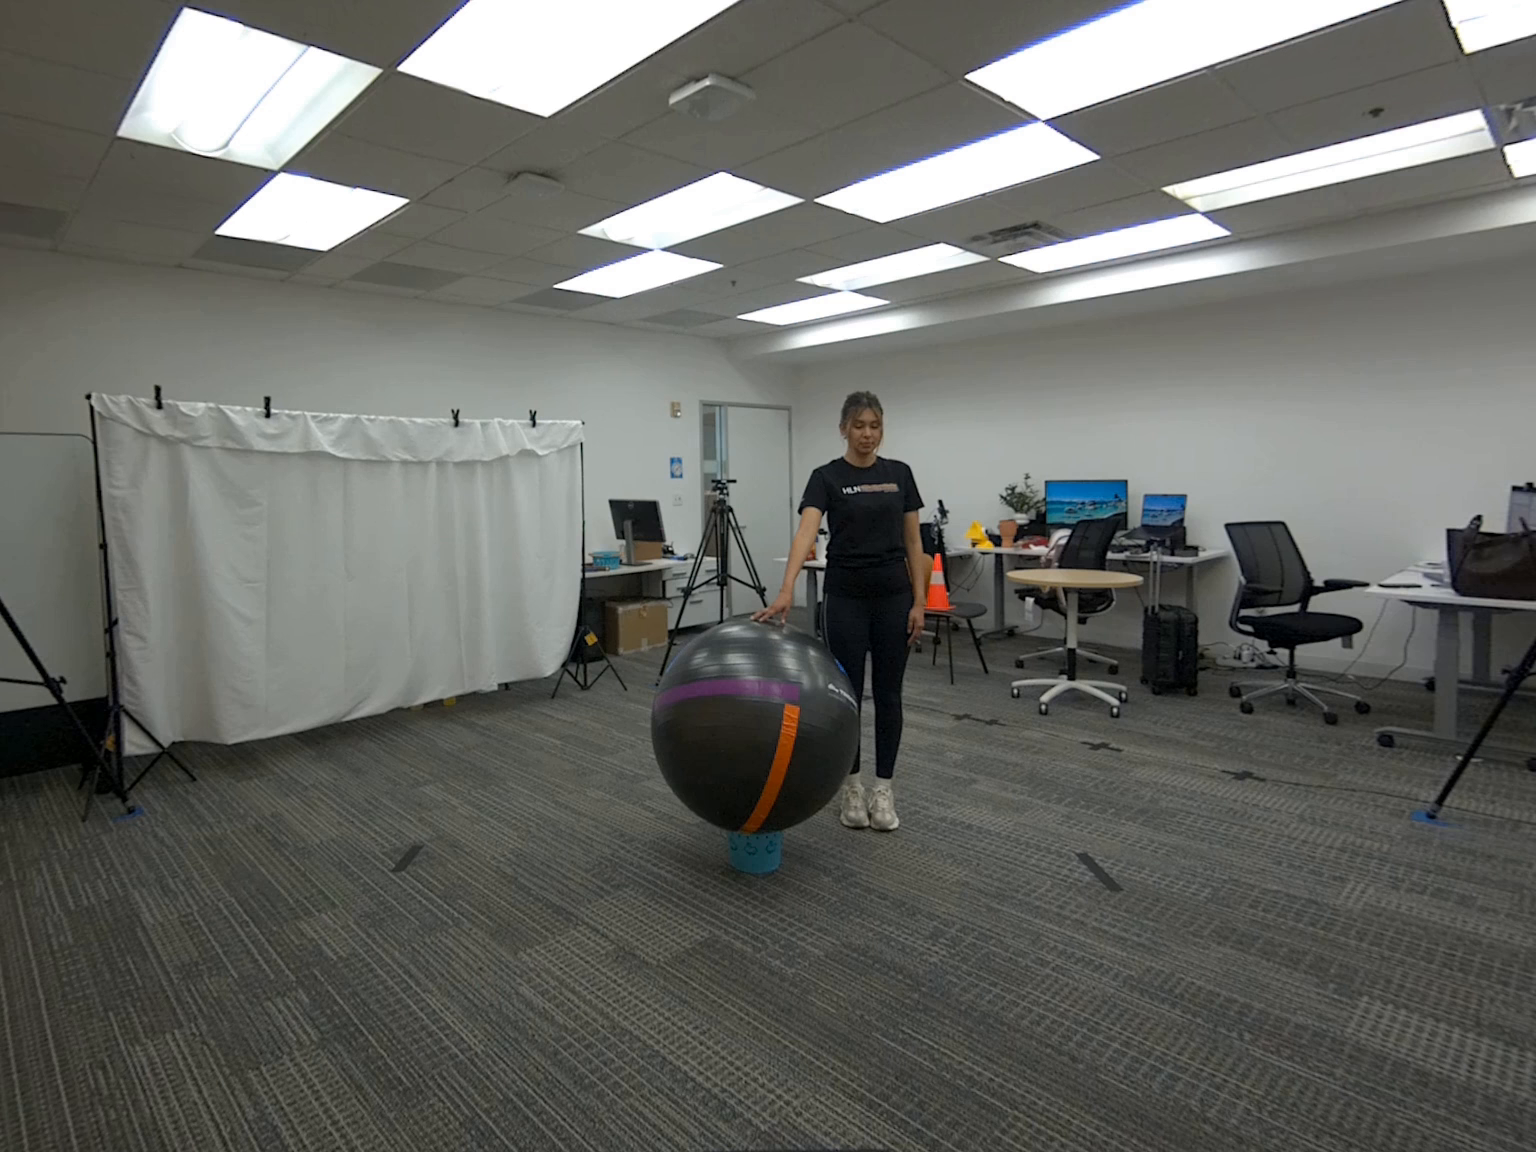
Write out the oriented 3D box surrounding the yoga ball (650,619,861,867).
[{"bbox_3d":[-0.047,0.542,3.107,0.757,0.755,0.762,-1,5,-2],"label":"yoga ball"}]
